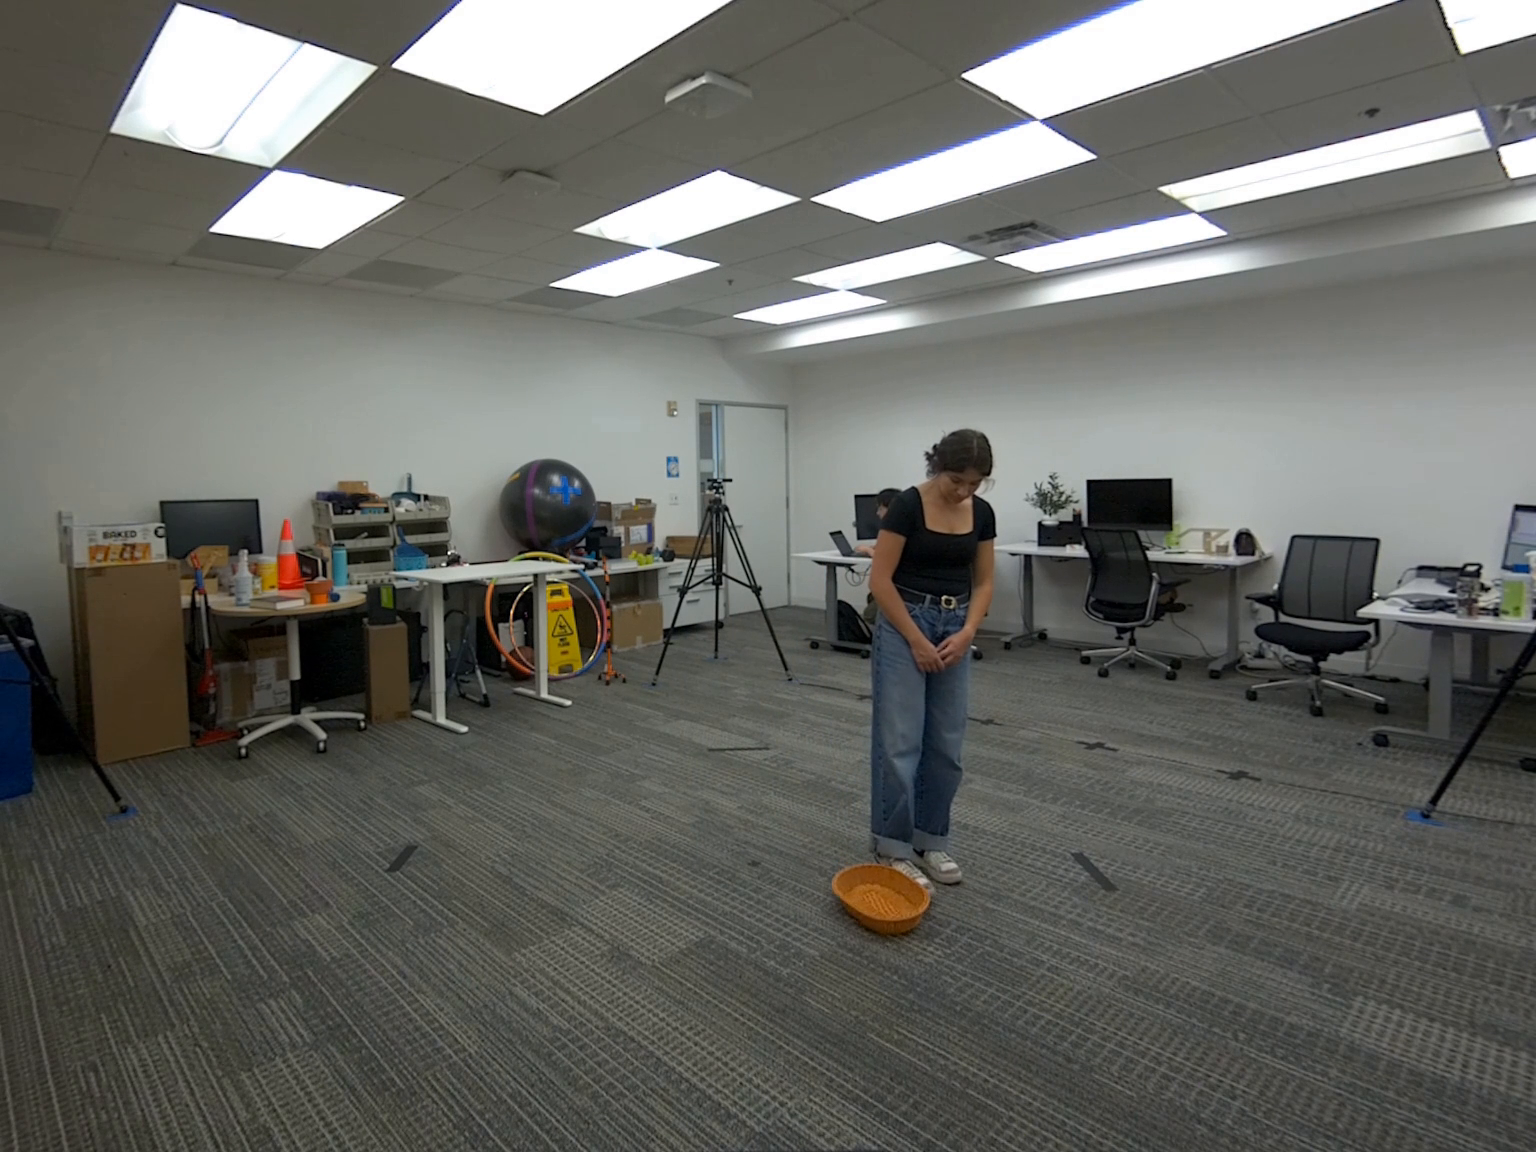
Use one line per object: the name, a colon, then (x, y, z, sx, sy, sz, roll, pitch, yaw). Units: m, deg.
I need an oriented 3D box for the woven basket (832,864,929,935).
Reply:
woven basket: (0.366, 1.036, 2.733, 0.247, 0.073, 0.360, -11, 11, -29)
